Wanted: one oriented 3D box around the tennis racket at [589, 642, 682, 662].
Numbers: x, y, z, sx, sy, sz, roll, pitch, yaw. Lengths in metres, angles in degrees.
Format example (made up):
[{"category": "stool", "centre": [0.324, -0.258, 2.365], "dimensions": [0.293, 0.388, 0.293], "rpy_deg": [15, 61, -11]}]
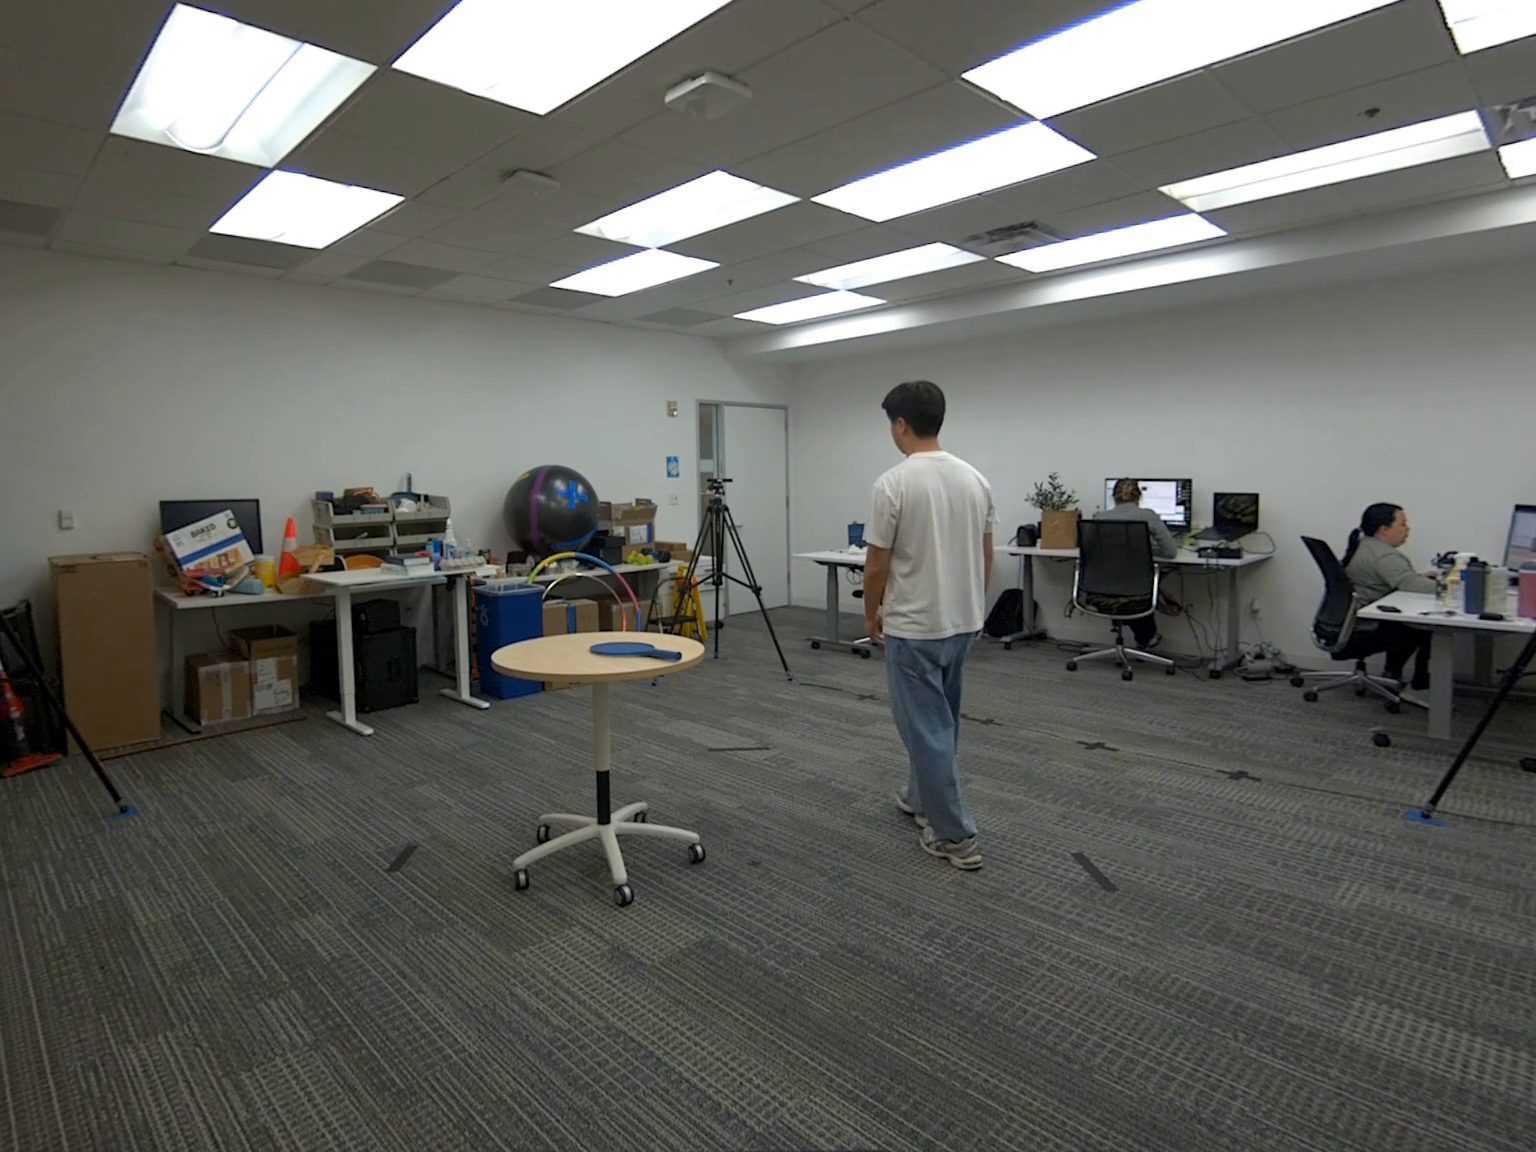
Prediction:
[{"category": "tennis racket", "centre": [-0.468, 0.268, 3.039], "dimensions": [0.446, 0.031, 0.208], "rpy_deg": [3, 7, 44]}]
